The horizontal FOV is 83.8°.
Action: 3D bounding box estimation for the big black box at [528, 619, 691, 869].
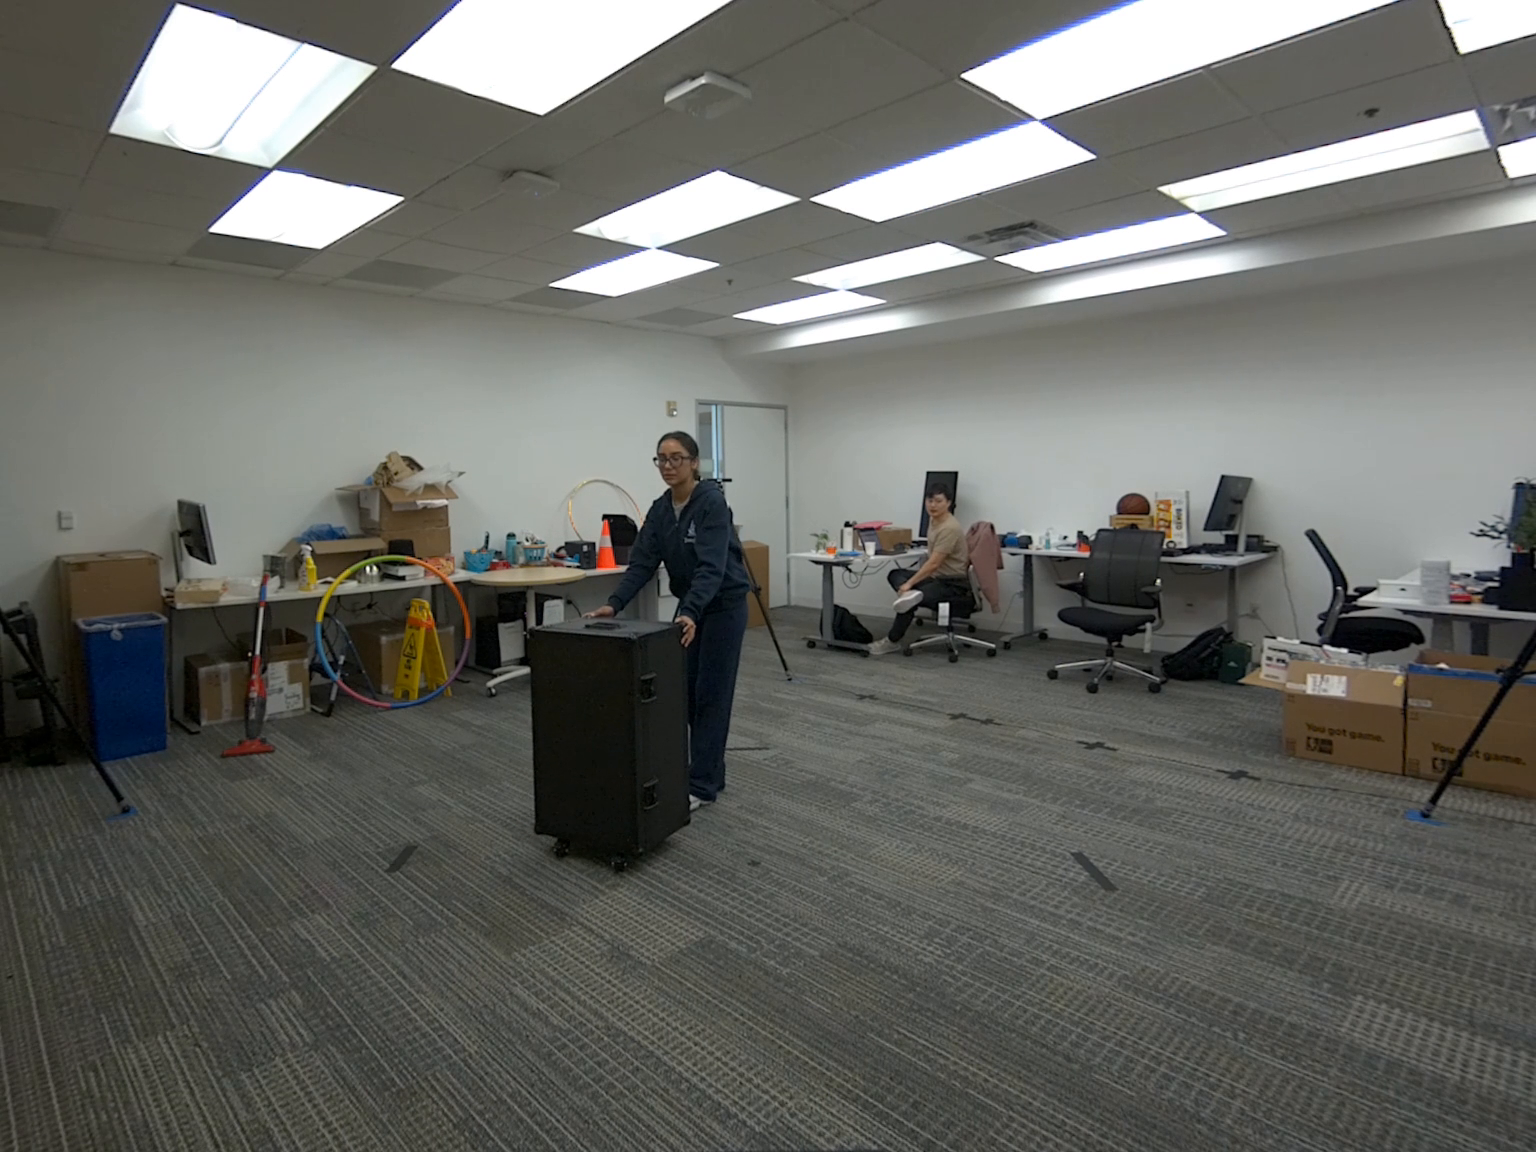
[{"bbox_3d":[-0.598,0.614,3.264,0.535,0.860,0.387,2,2,29],"label":"big black box"}]
